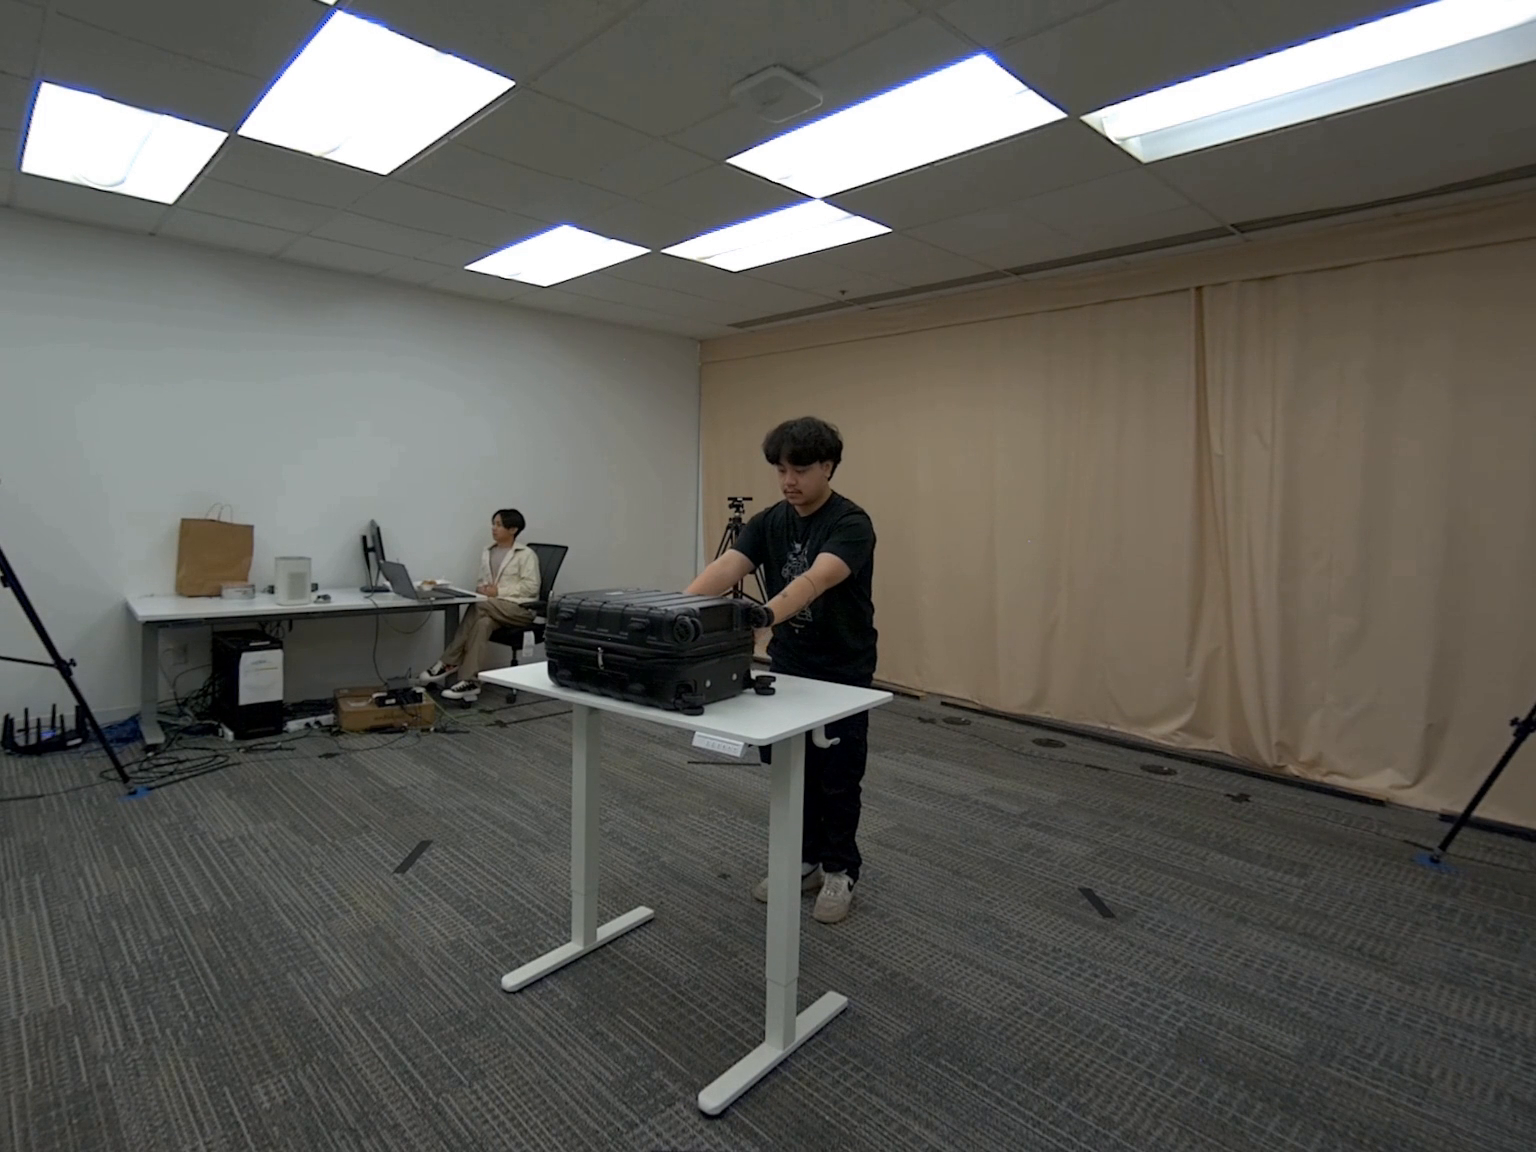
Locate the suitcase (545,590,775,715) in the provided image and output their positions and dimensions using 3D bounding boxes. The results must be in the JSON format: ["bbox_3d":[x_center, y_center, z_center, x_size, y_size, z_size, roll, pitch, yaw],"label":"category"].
[{"bbox_3d":[-0.309,0.185,2.218,0.563,0.247,0.367,5,7,37],"label":"suitcase"}]
